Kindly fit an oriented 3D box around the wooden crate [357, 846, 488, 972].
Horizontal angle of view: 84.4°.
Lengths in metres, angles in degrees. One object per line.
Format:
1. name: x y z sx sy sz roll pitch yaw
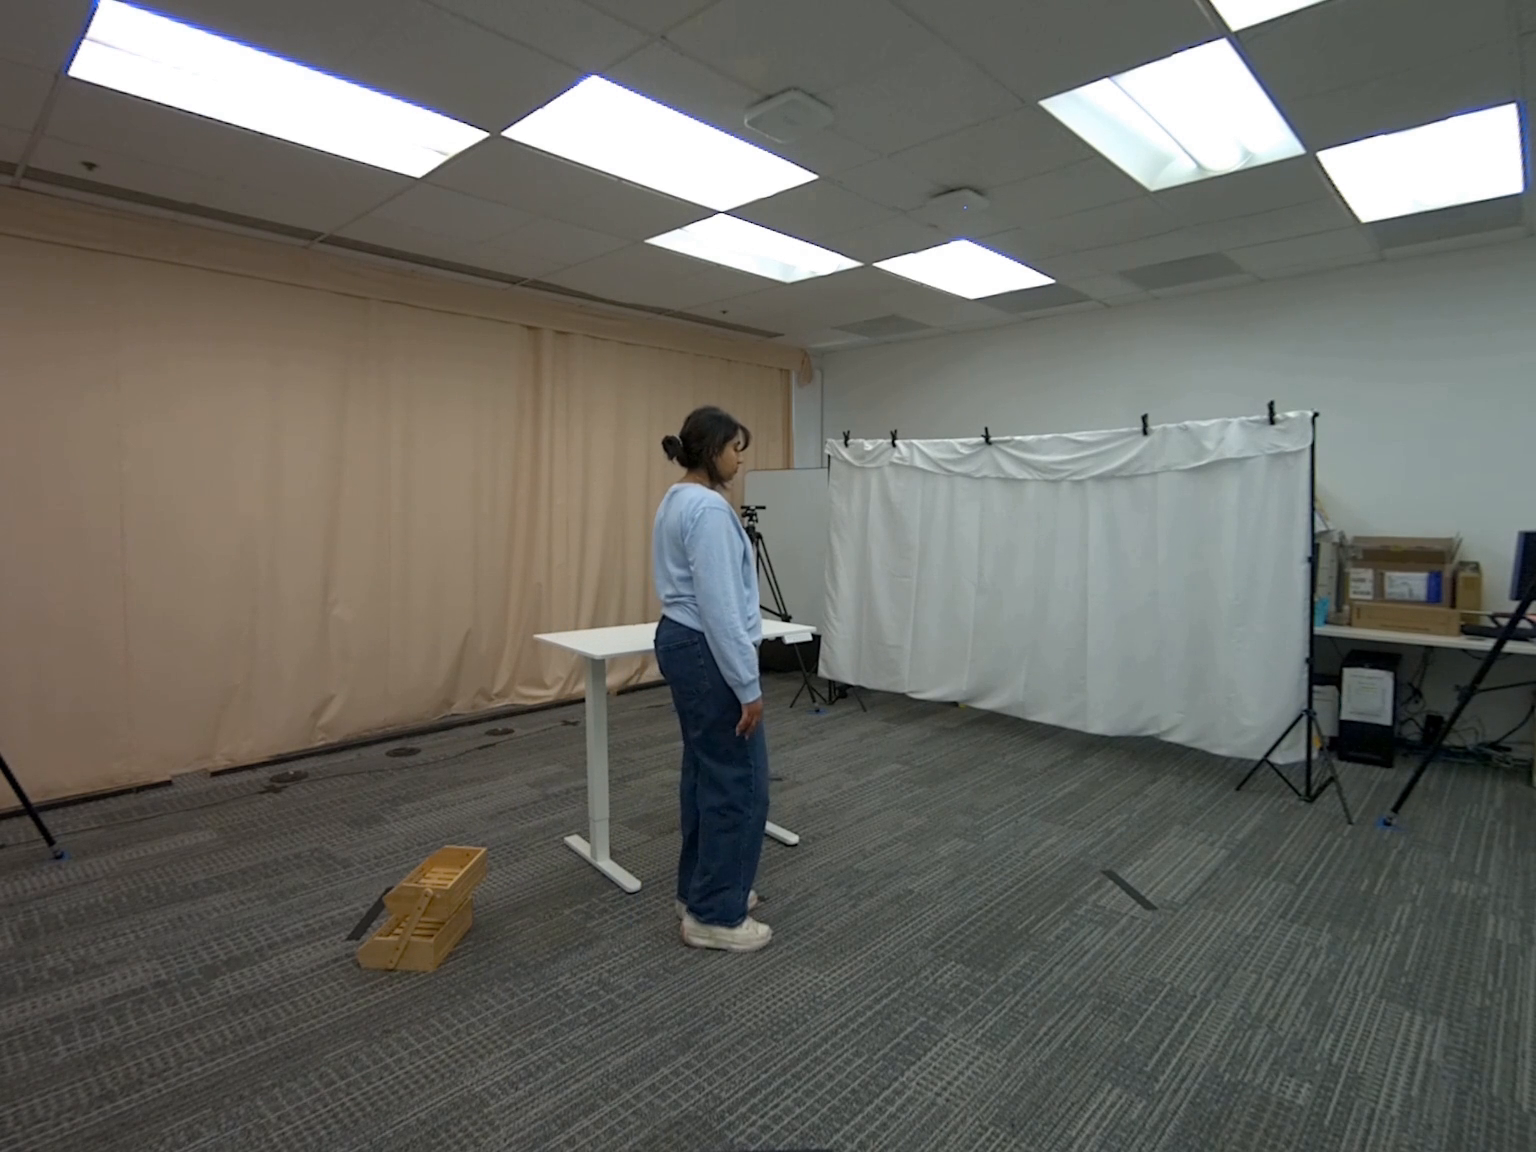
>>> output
1. wooden crate: -1.101 1.051 2.680 0.304 0.273 0.323 1 3 4
